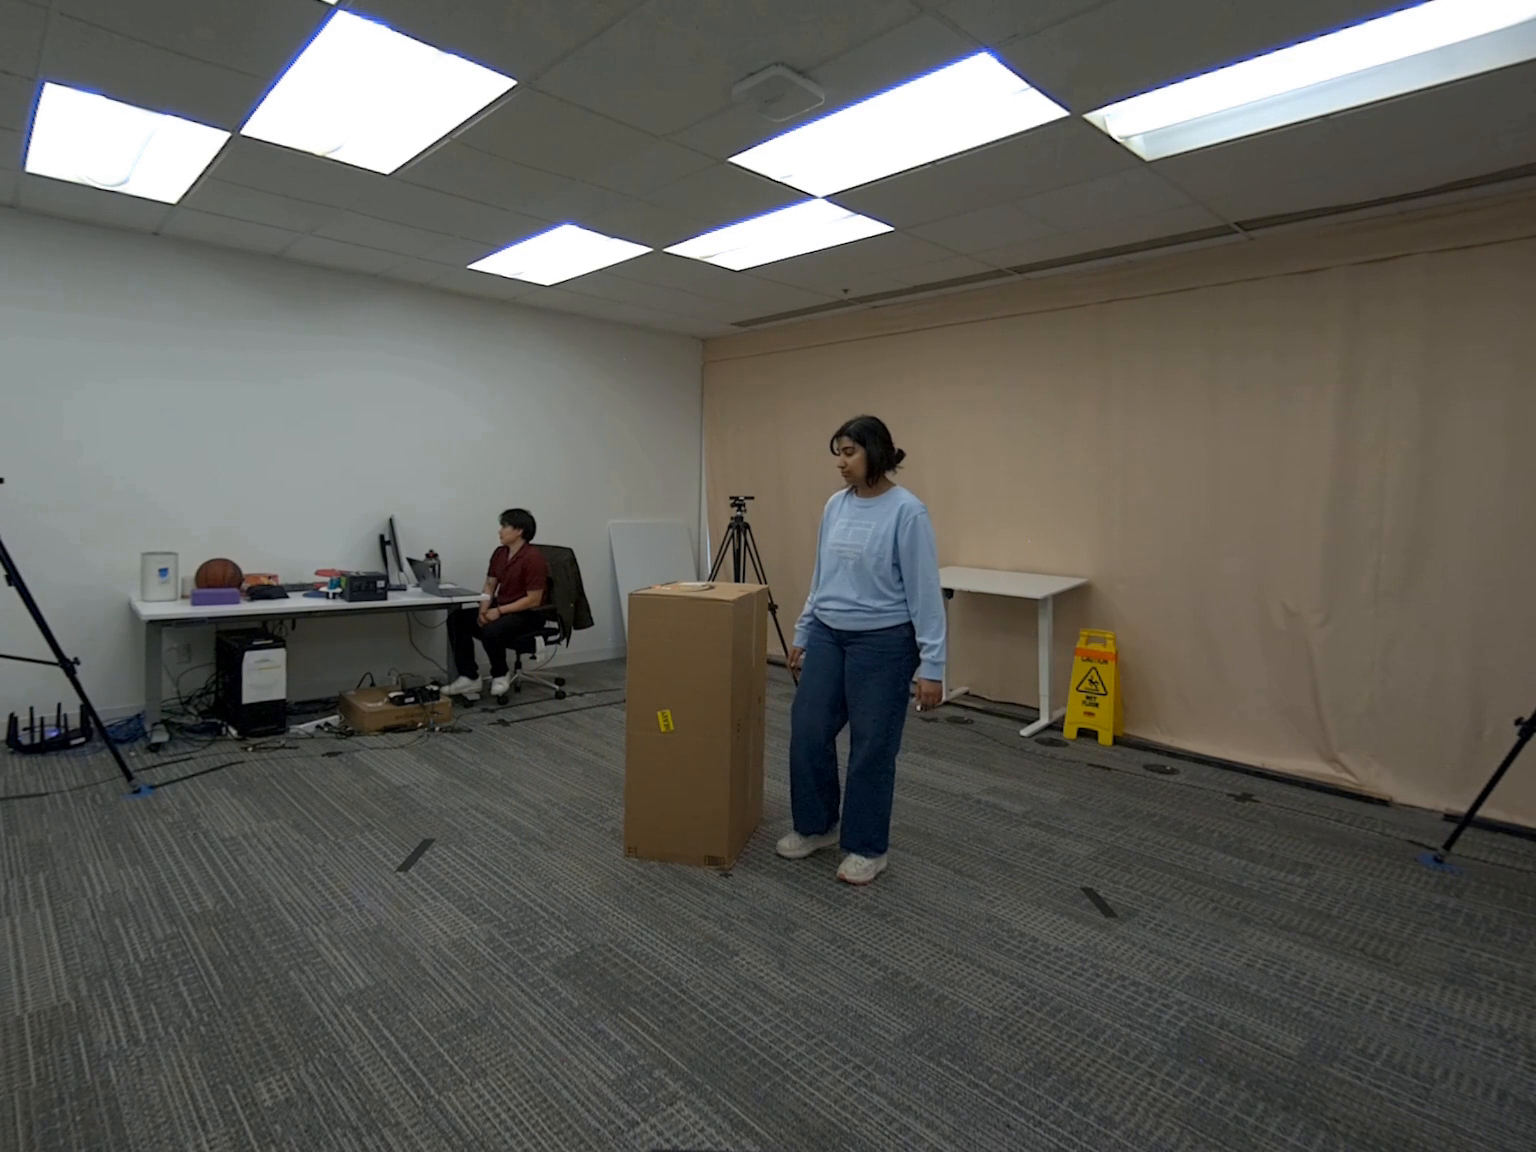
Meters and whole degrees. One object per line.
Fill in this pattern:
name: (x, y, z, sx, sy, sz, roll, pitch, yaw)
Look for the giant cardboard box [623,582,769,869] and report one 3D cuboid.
giant cardboard box: (-0.284, 0.561, 3.445, 0.431, 1.023, 0.572, 2, 4, 14)
